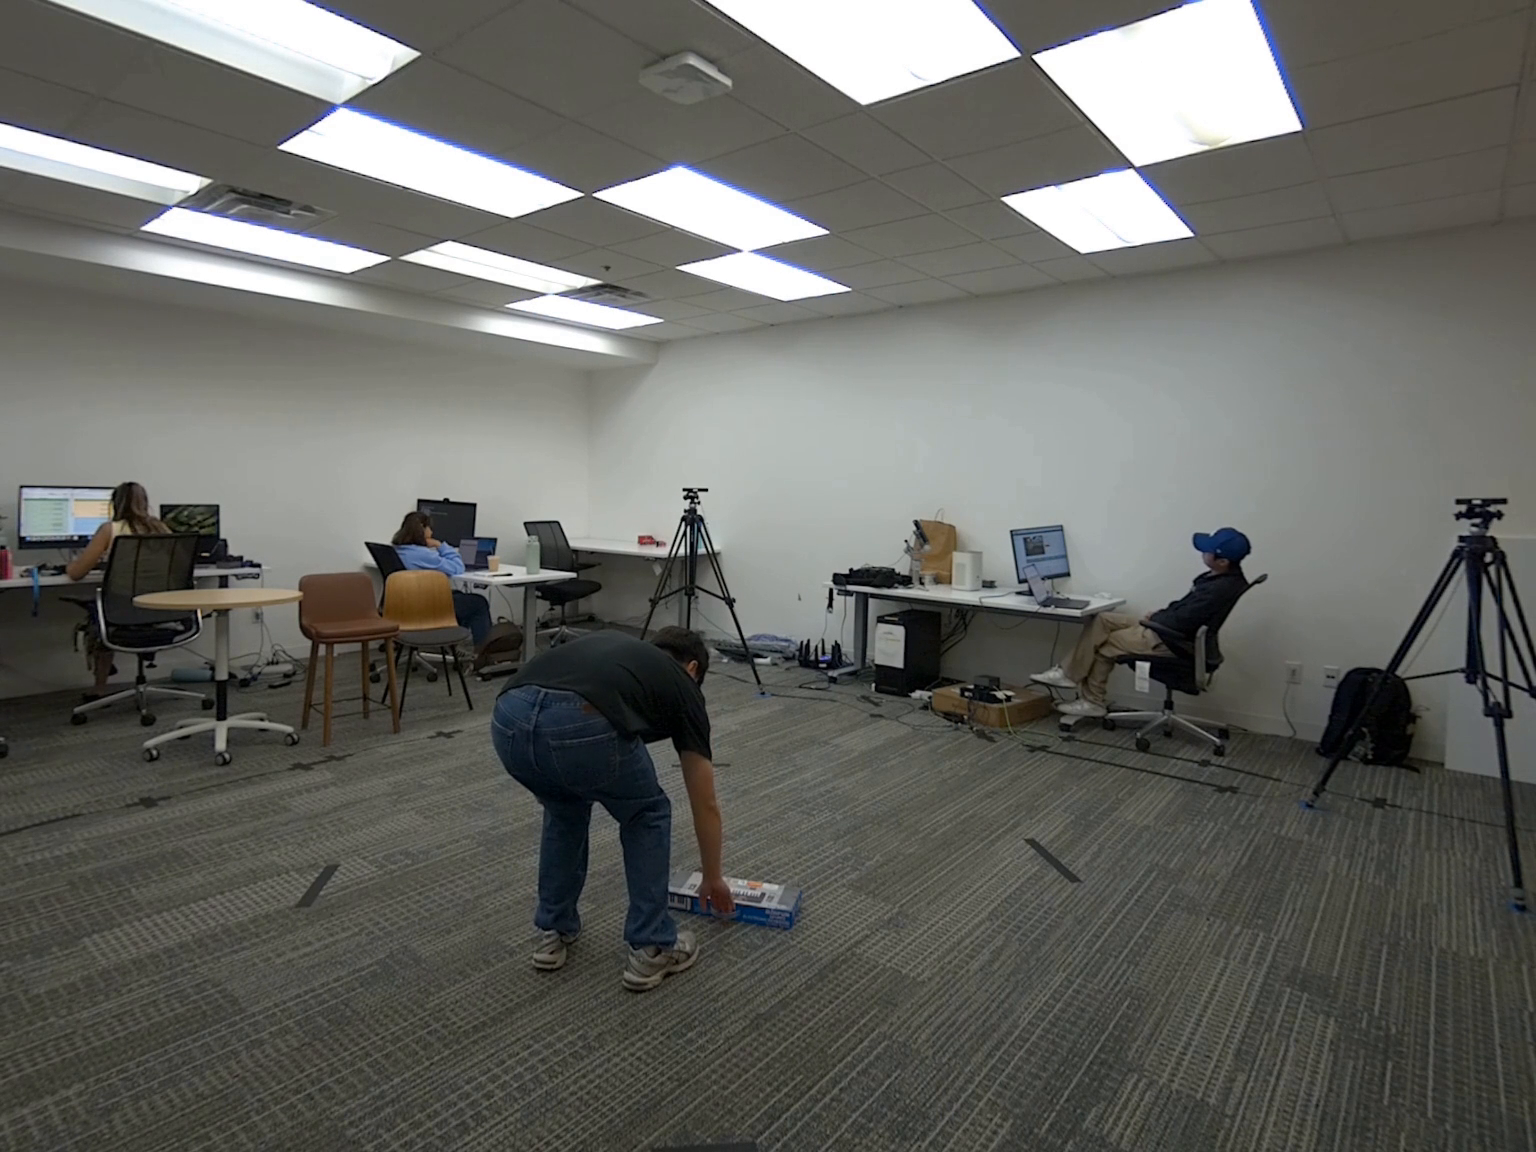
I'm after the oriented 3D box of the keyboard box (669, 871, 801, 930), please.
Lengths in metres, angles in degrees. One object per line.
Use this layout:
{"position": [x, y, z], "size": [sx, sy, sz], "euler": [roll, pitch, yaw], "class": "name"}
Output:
{"position": [-0.126, 1.068, 2.831], "size": [0.445, 0.059, 0.173], "euler": [3, 5, 16], "class": "keyboard box"}
